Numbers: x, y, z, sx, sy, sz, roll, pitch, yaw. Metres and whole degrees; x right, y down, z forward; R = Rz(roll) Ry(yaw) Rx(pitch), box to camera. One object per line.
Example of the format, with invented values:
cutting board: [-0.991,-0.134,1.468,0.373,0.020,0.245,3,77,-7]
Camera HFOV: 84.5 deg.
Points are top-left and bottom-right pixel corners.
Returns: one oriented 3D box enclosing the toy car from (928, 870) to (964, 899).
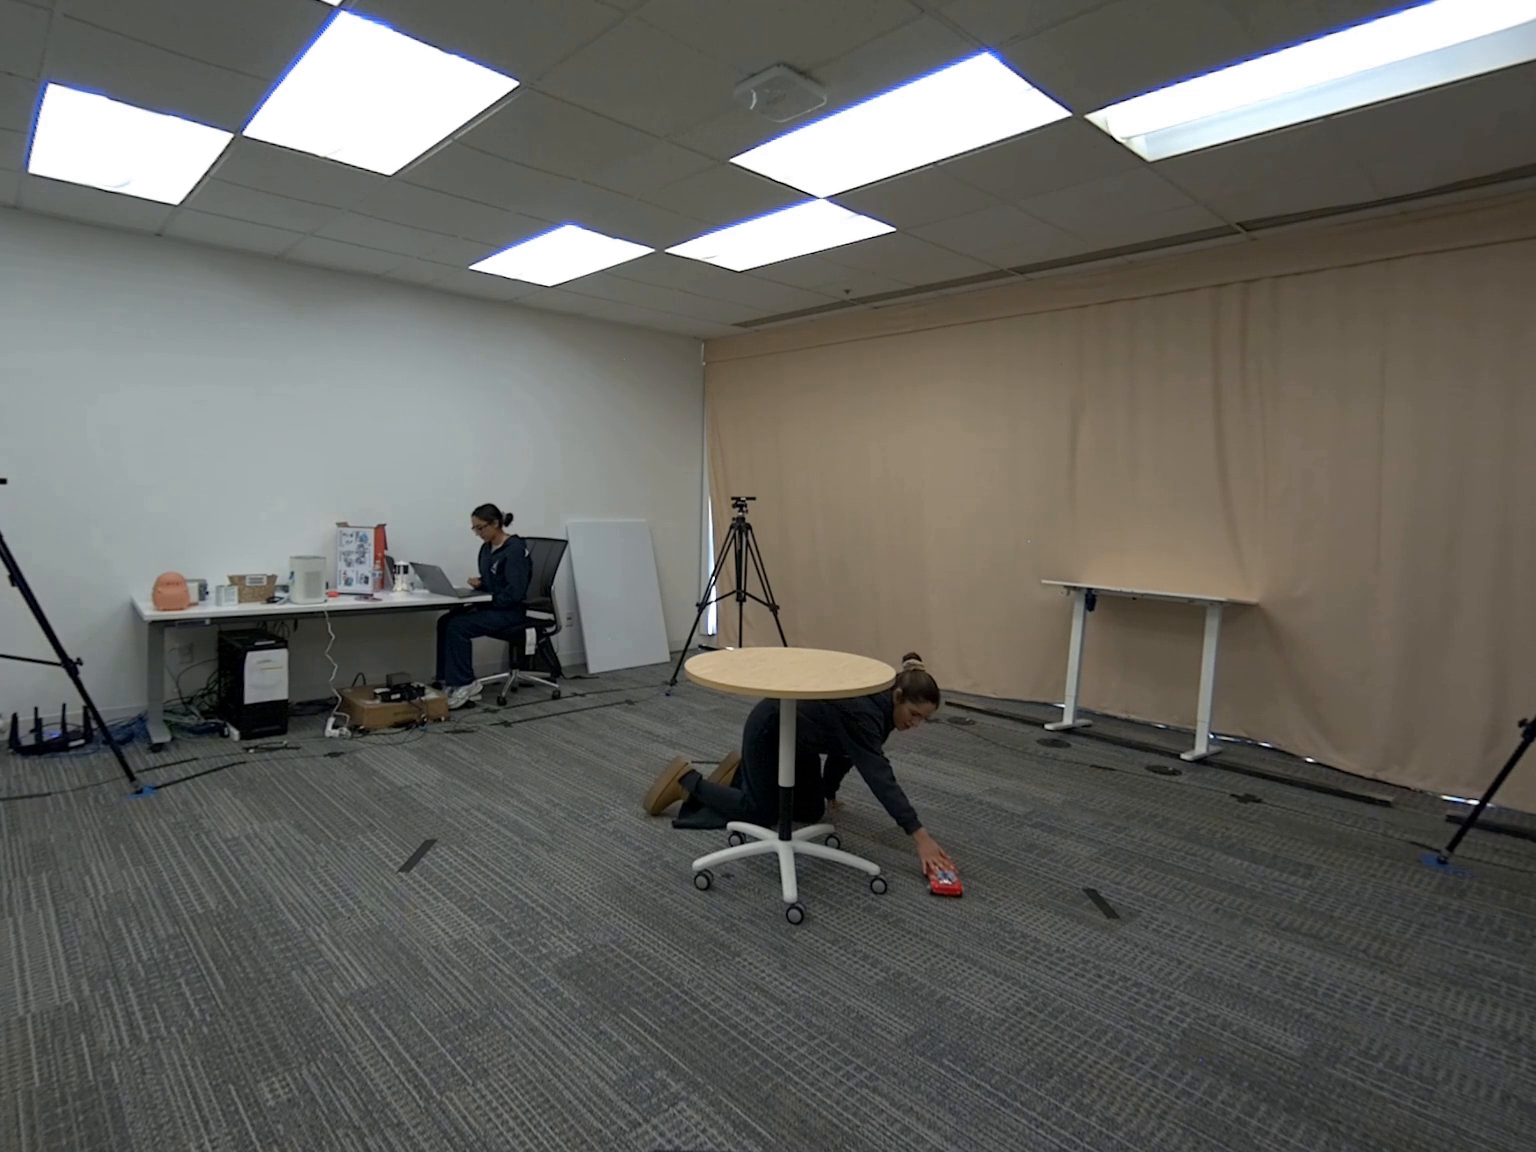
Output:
toy car: [0.630,1.091,3.105,0.131,0.082,0.256,1,17,4]
